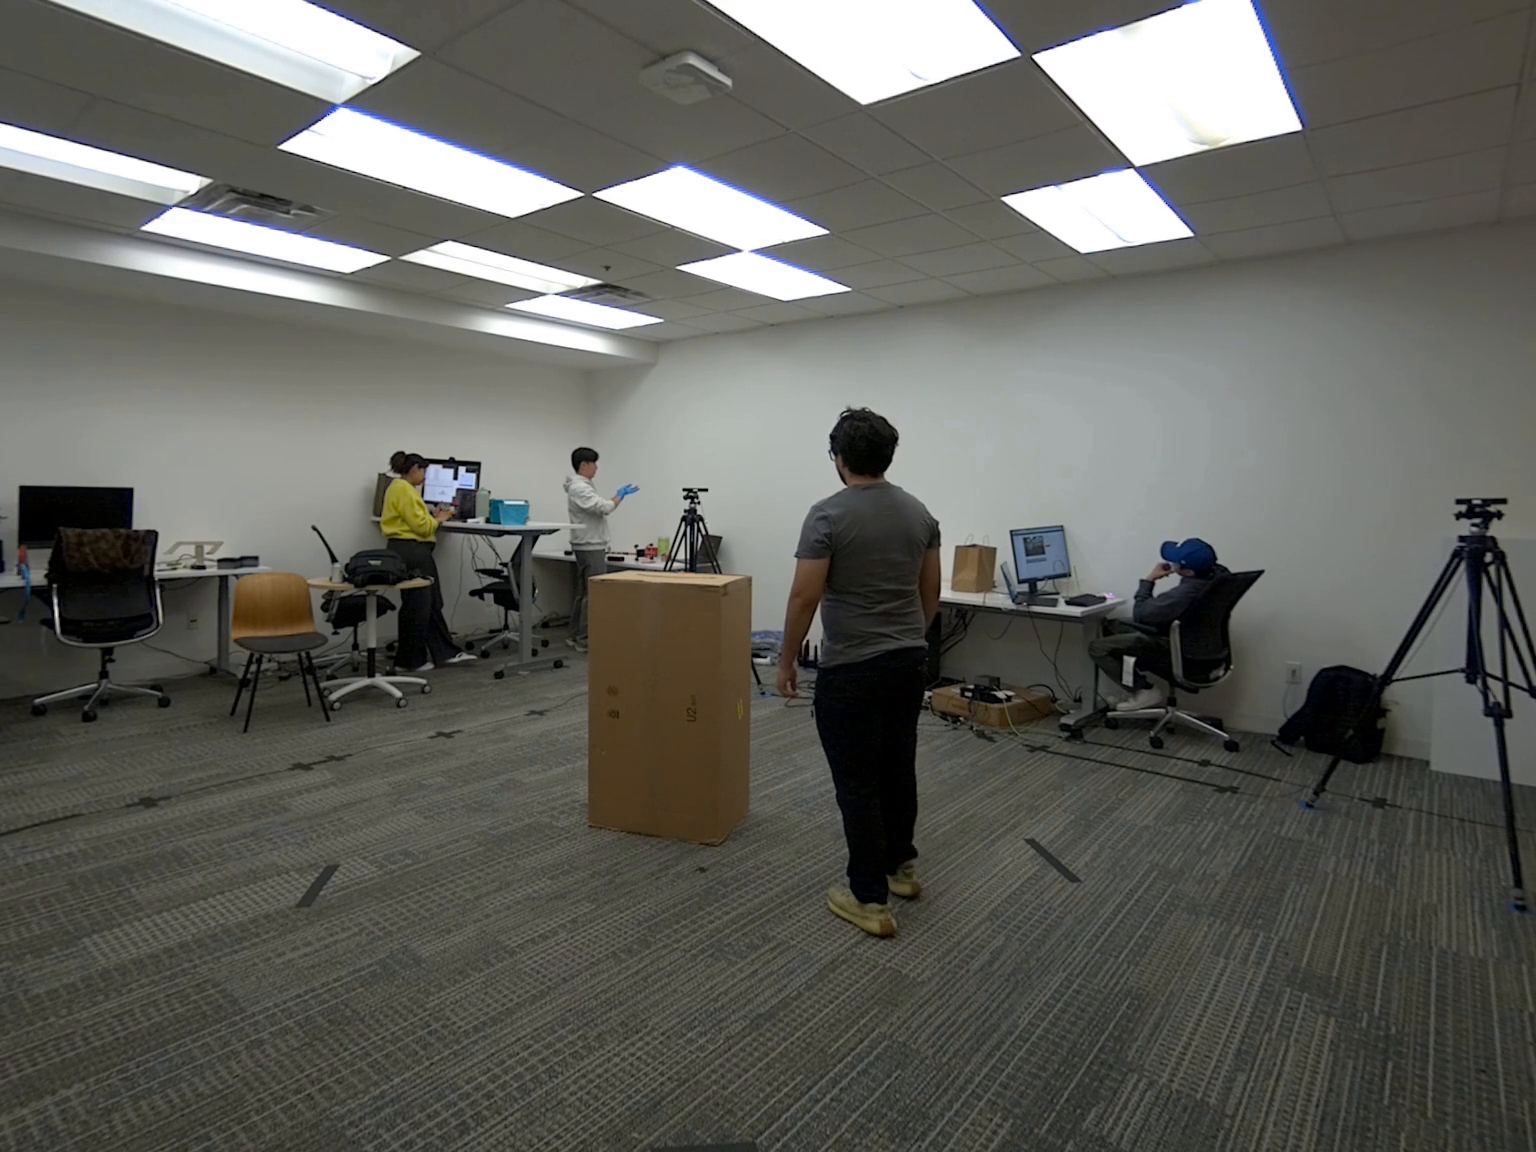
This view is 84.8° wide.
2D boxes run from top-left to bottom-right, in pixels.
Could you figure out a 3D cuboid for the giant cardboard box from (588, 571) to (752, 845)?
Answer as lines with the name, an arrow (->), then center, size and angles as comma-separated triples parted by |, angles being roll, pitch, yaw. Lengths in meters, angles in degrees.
giant cardboard box -> -0.417, 0.511, 3.580 | 0.589, 1.023, 0.418 | 2, 3, 19
